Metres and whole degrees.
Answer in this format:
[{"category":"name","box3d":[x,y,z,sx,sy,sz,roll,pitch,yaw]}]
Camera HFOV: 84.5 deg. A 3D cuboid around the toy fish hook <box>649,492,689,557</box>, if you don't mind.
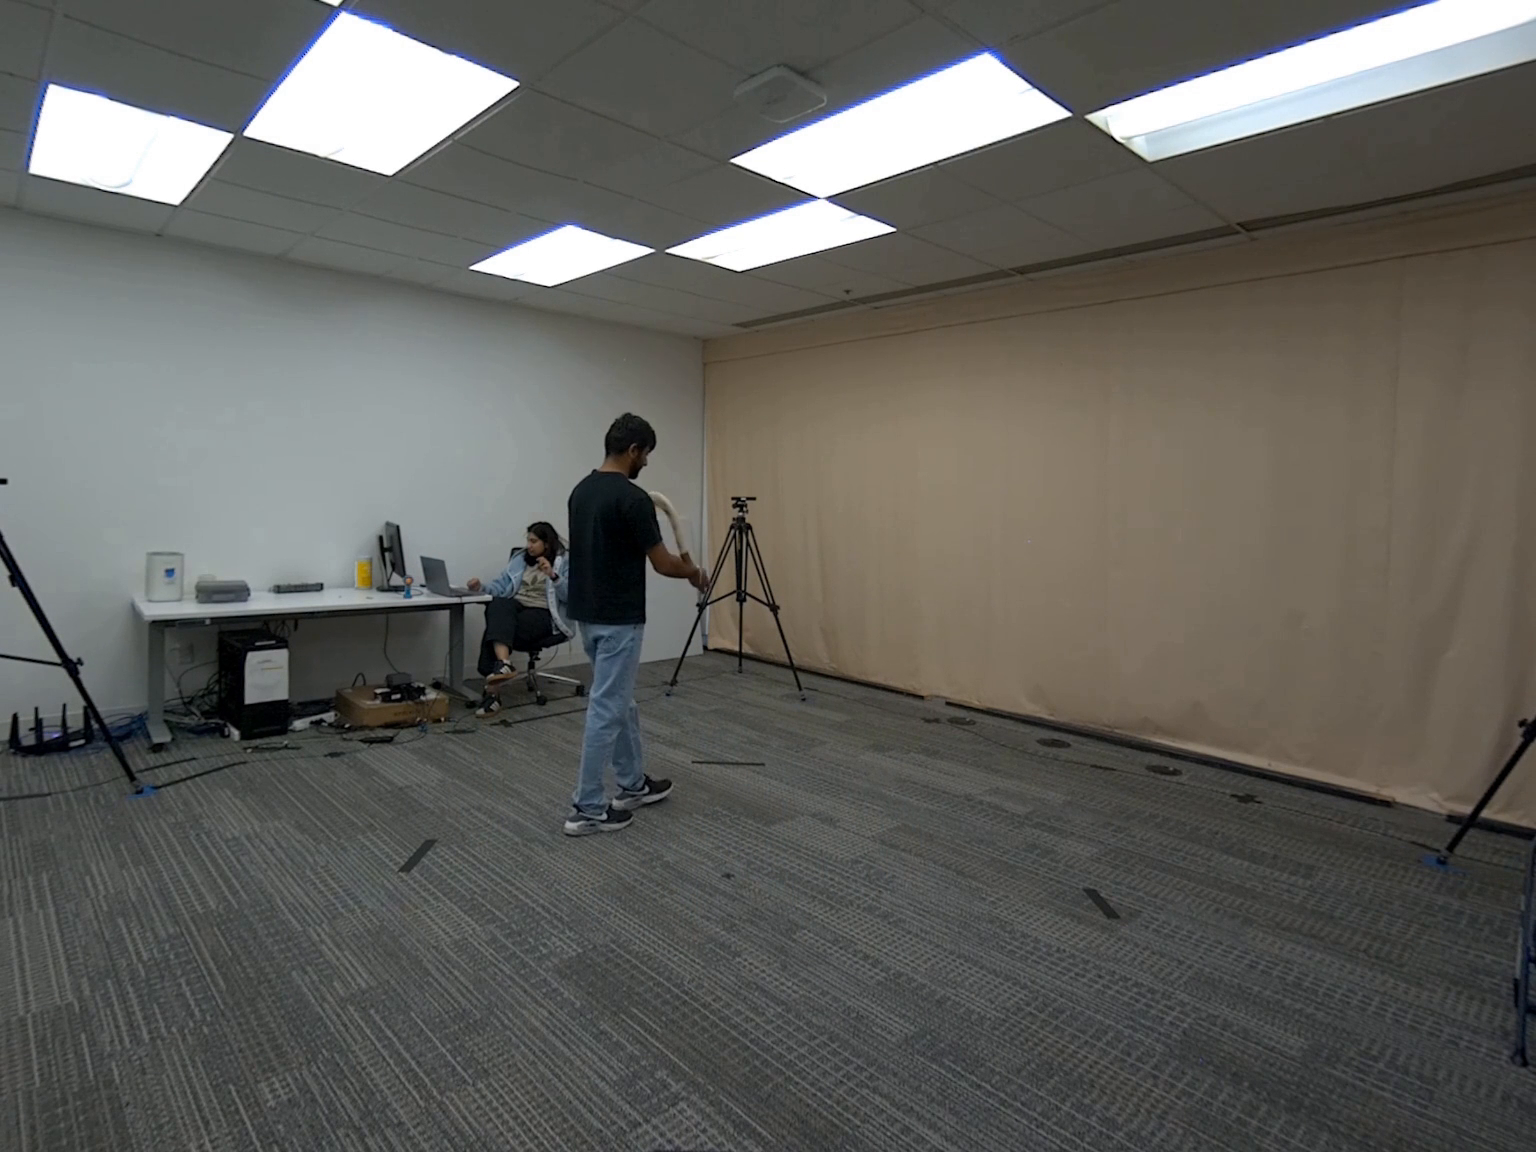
[{"category":"toy fish hook","box3d":[-0.455,-0.148,3.800,0.229,0.500,0.048,-10,19,45]}]
